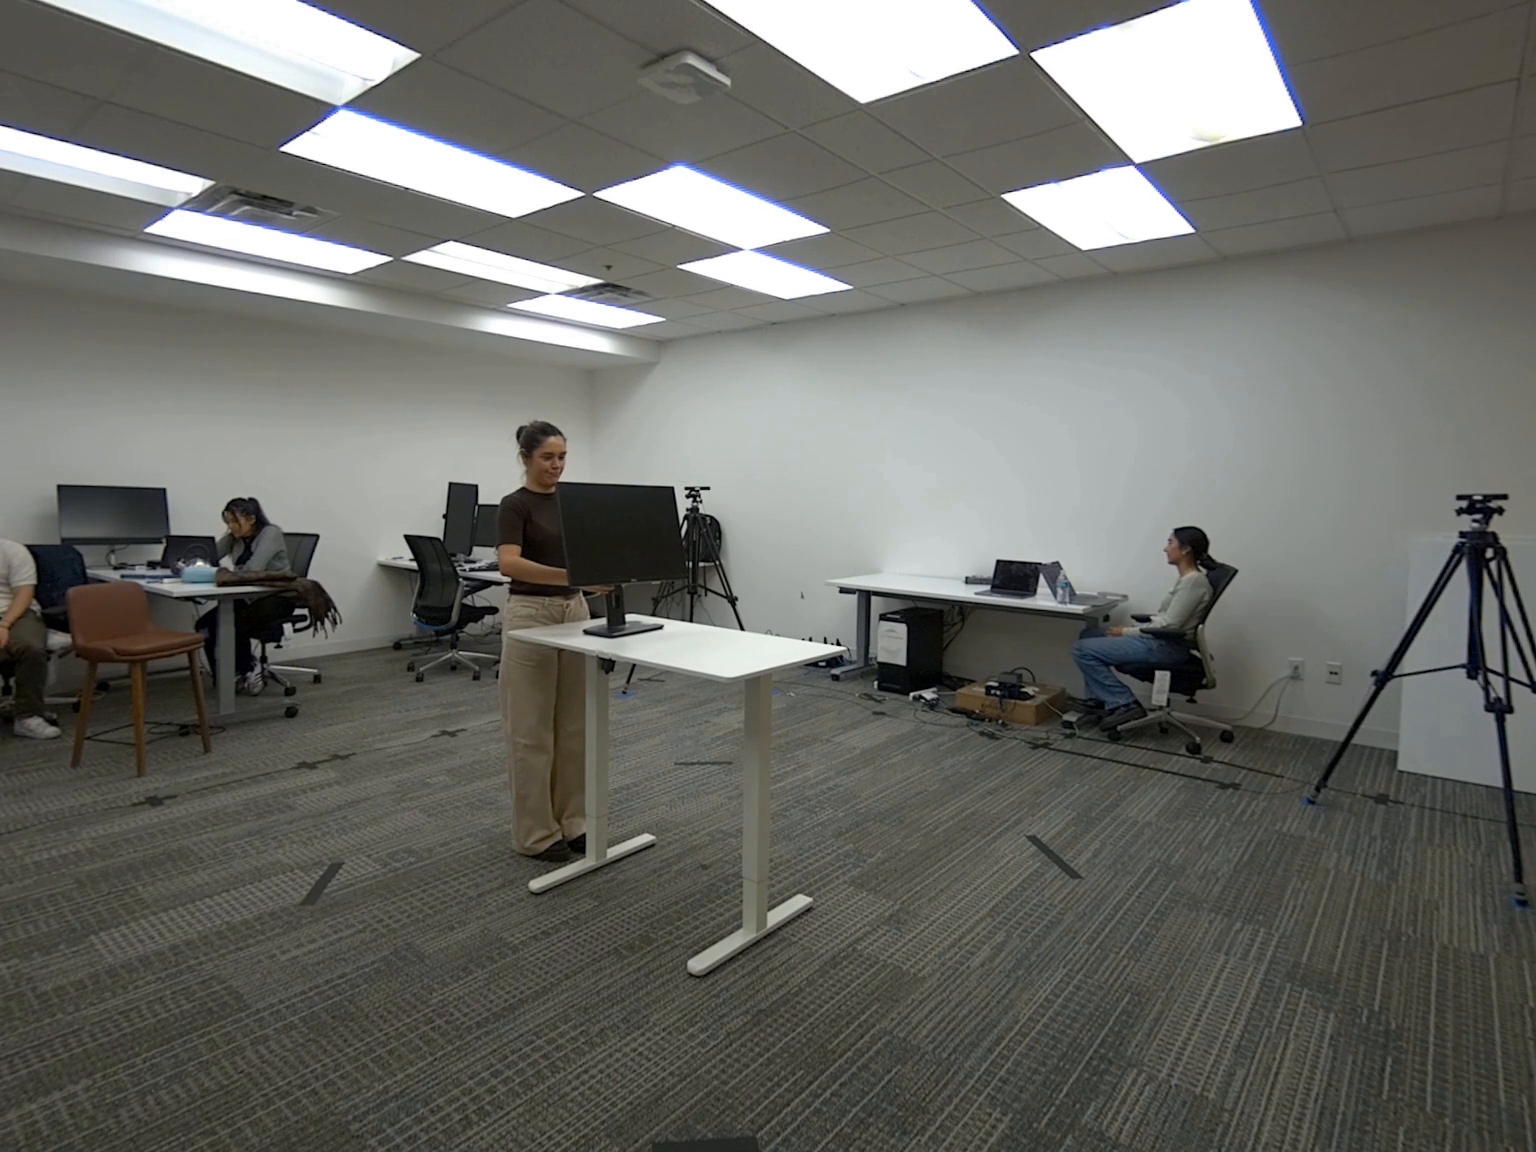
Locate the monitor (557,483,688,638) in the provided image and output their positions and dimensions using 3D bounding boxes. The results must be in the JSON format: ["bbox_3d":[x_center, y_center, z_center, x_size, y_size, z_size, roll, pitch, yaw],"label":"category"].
[{"bbox_3d":[-0.528,-0.061,2.972,0.193,0.522,0.523,1,3,39],"label":"monitor"}]
